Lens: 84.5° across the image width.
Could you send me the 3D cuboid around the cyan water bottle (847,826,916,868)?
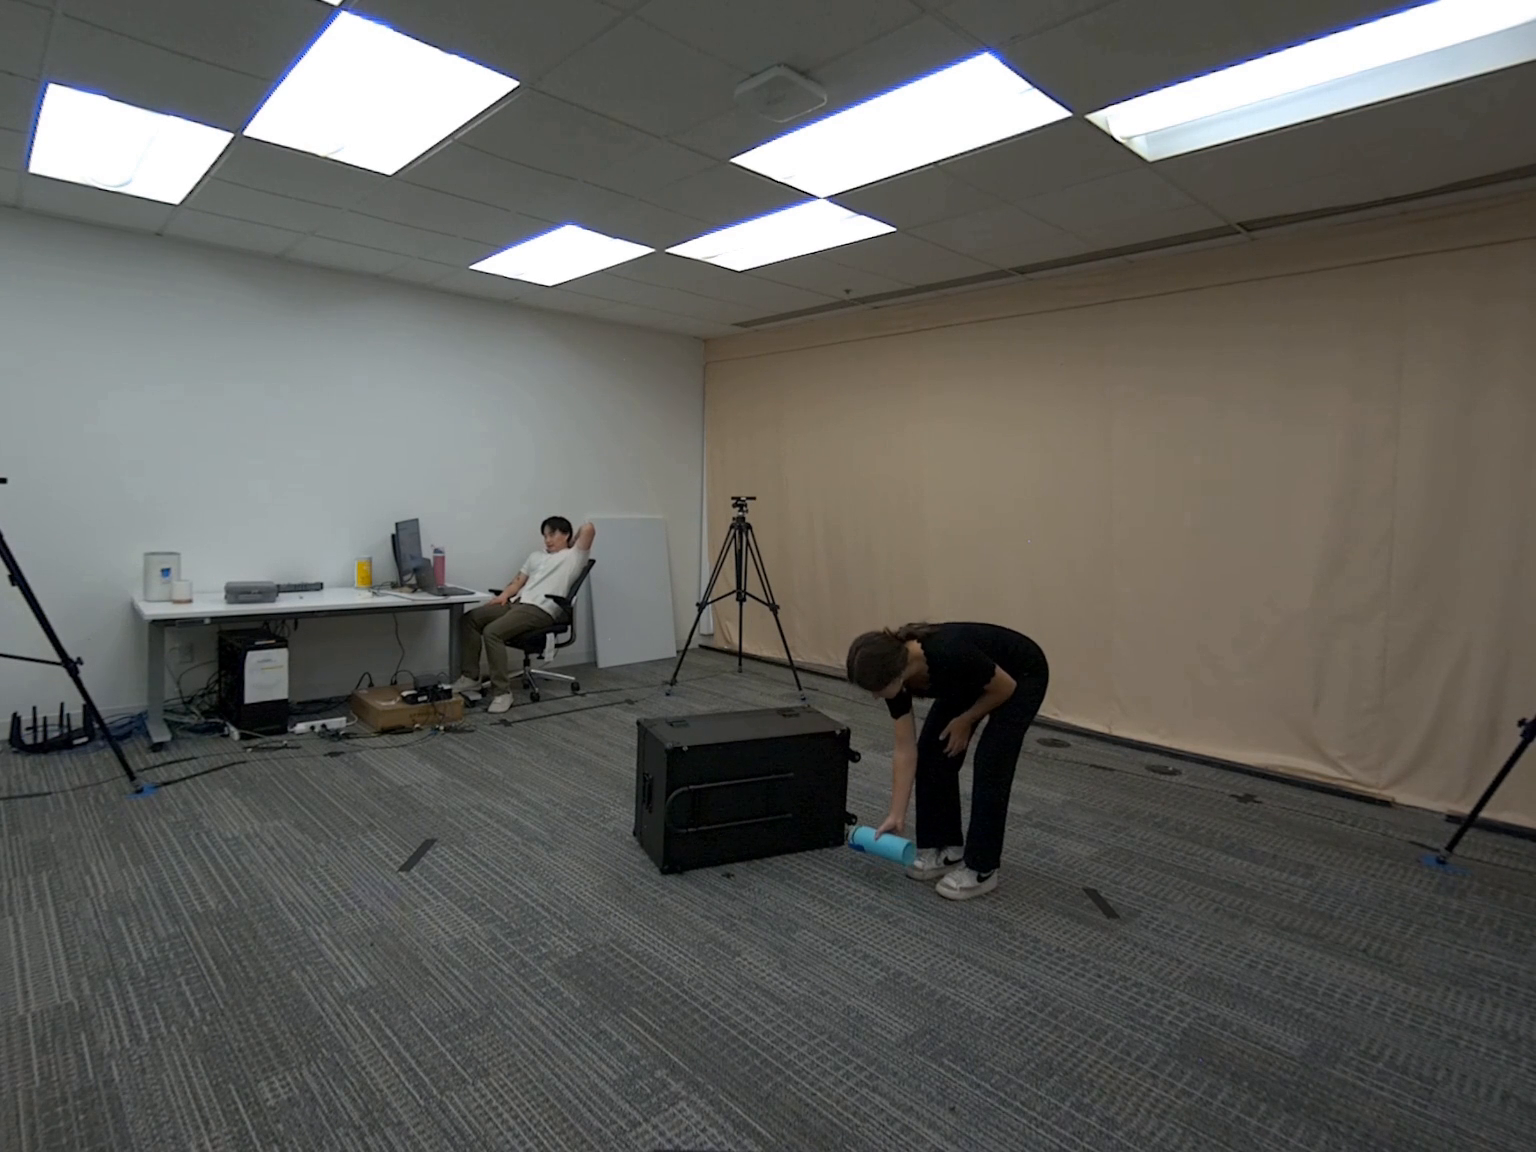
[{"bbox_3d":[0.407,0.966,3.053,0.090,0.092,0.291,-2,10,-36],"label":"cyan water bottle"}]
